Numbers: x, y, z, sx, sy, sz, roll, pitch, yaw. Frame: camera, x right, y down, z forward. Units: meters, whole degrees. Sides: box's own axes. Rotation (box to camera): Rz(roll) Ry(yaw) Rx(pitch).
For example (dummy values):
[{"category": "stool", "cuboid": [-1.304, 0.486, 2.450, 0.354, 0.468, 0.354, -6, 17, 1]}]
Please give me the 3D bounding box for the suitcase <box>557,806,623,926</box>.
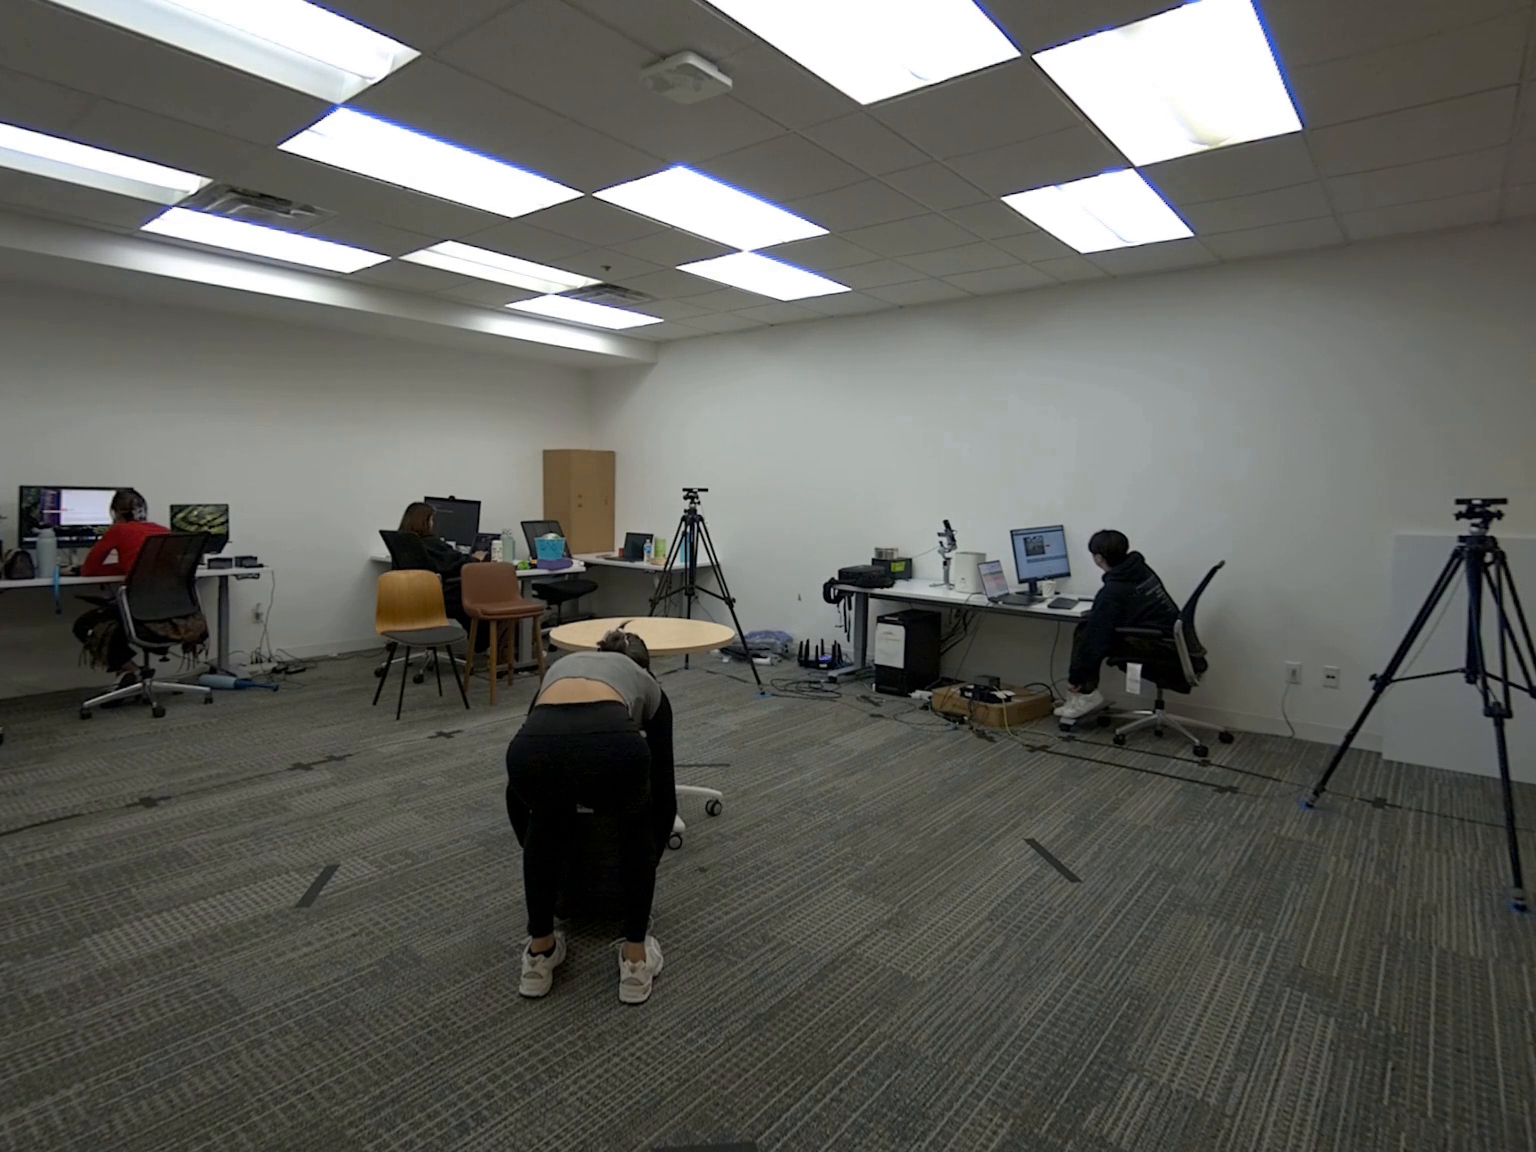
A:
[{"category": "suitcase", "cuboid": [-0.563, 0.828, 2.711, 0.376, 0.548, 0.249, 1, 3, 1]}]
